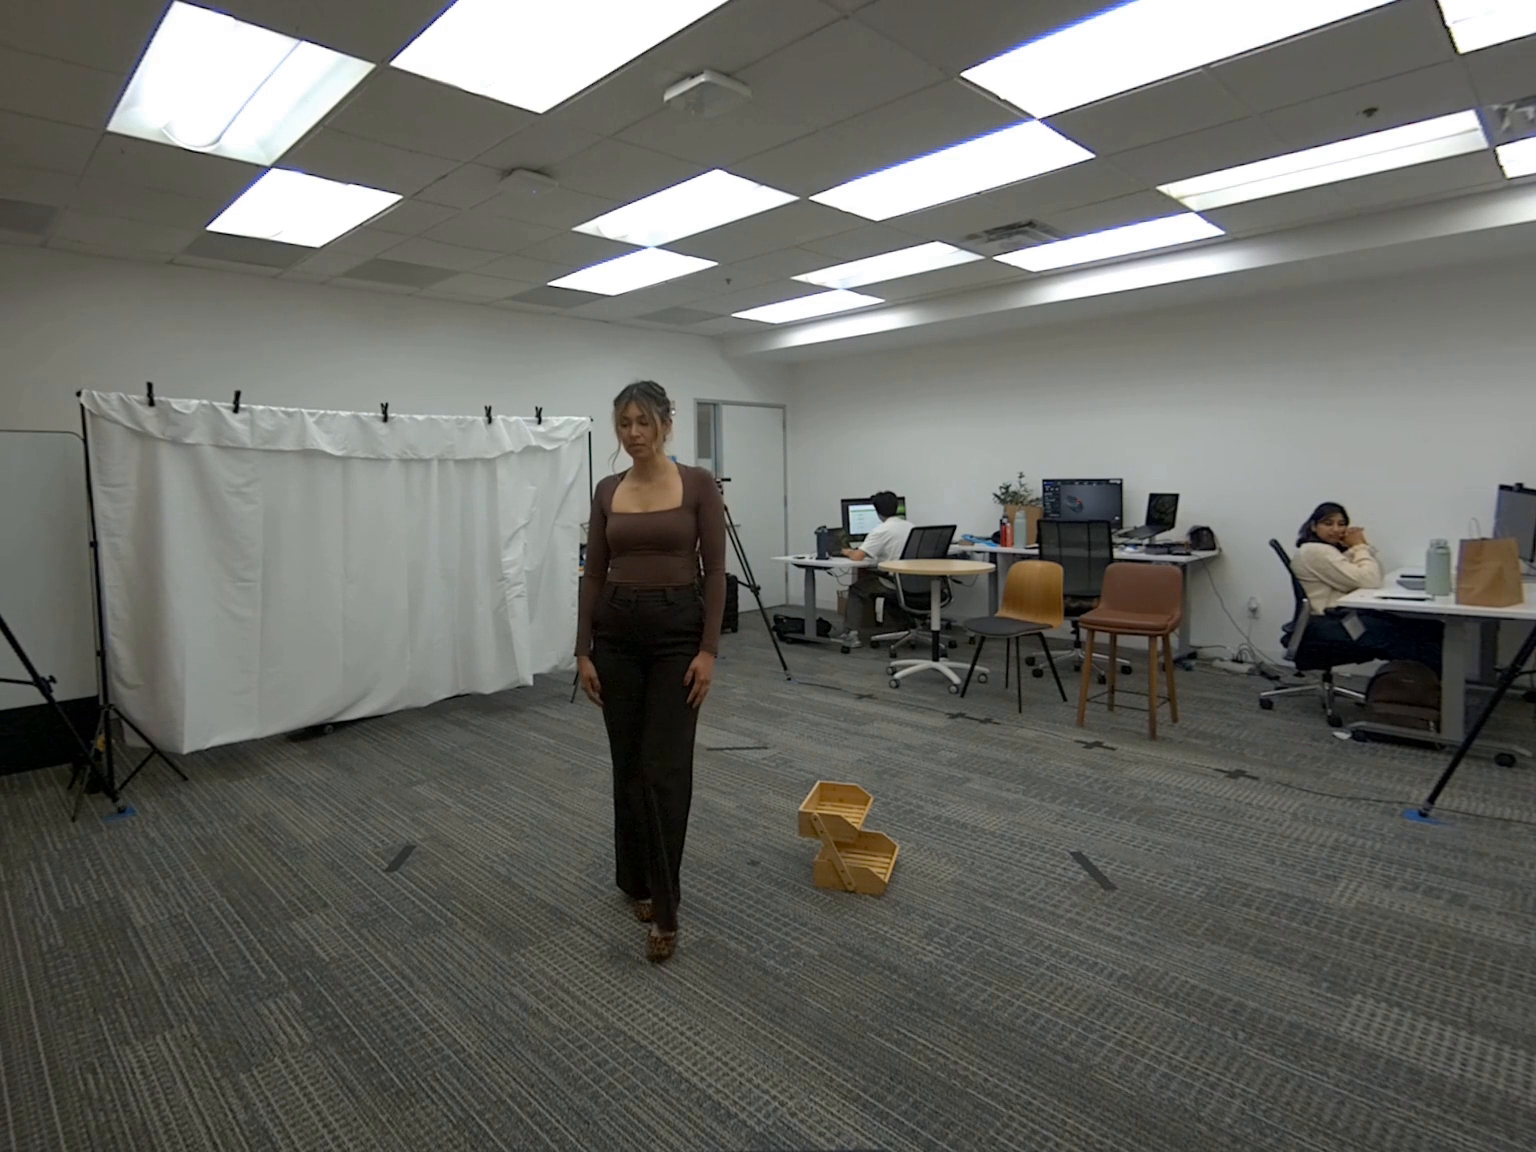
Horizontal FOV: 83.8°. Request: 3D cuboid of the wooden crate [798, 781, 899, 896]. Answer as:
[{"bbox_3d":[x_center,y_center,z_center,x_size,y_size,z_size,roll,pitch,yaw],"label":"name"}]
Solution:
[{"bbox_3d":[0.299,0.912,3.019,0.307,0.272,0.320,0,5,18],"label":"wooden crate"}]
